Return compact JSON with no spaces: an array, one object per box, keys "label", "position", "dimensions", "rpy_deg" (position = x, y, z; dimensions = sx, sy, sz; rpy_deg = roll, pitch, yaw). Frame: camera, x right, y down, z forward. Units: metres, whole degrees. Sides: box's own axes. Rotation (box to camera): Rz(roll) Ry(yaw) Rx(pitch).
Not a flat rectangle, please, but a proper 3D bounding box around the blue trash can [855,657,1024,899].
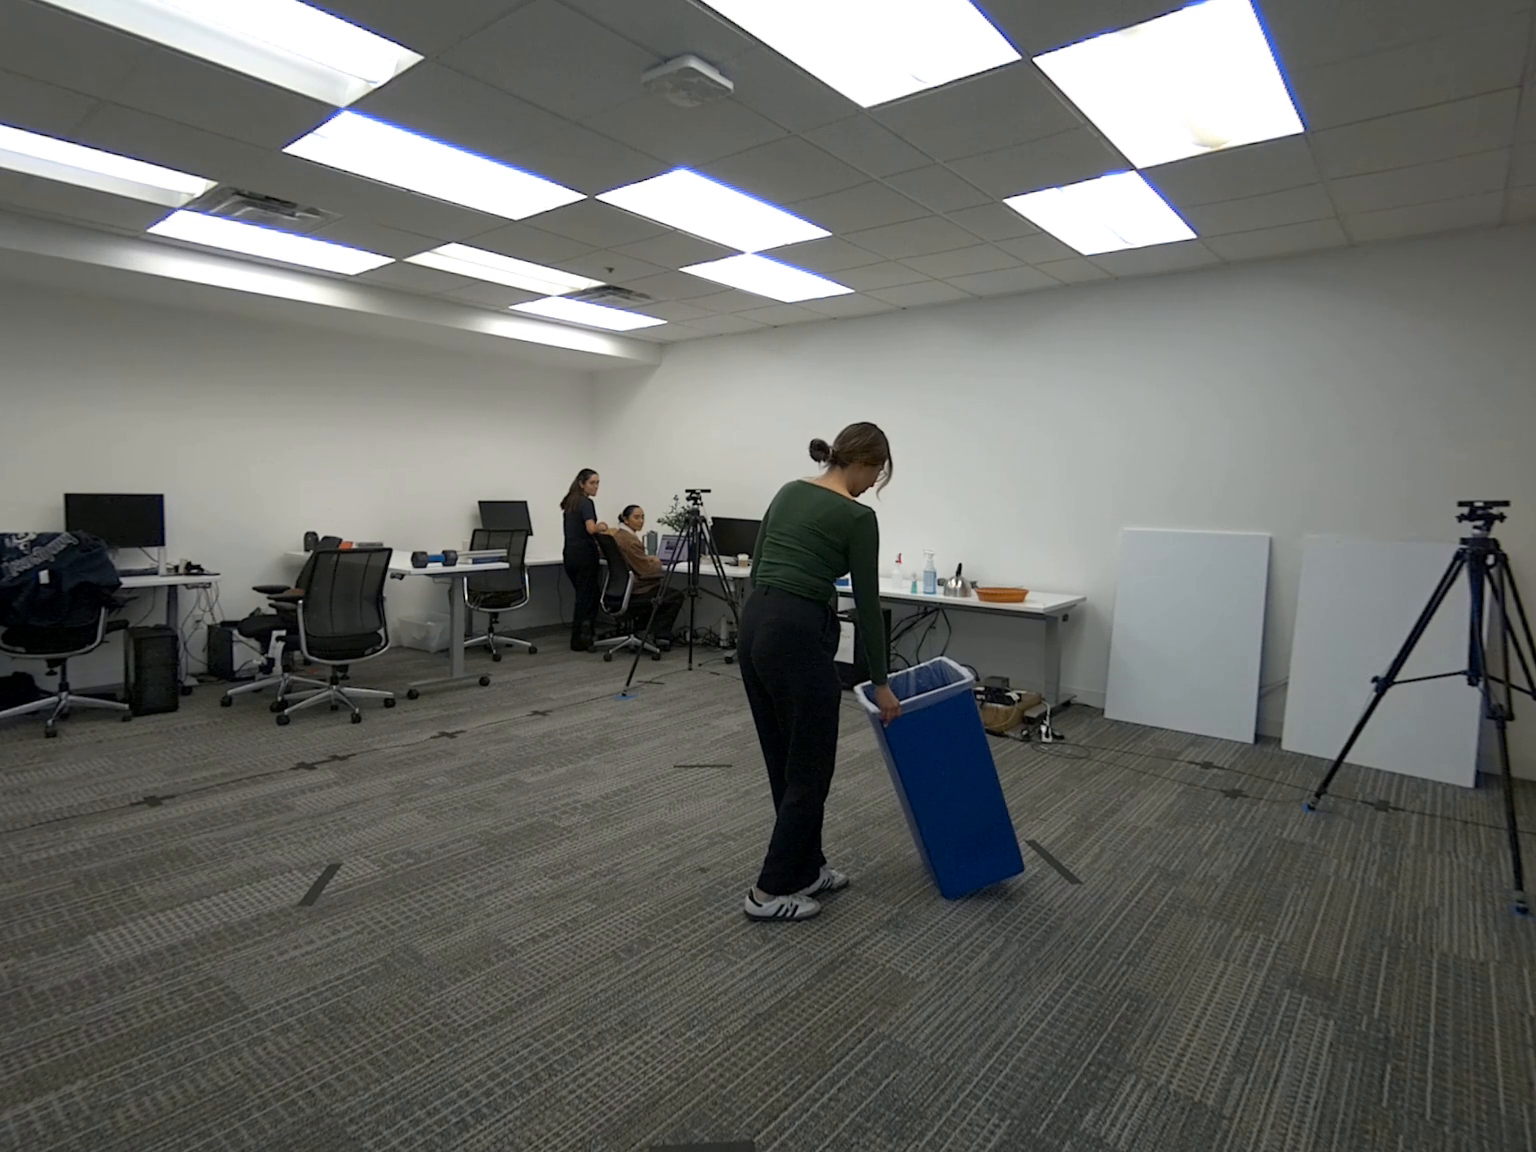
[{"label":"blue trash can","position":[0.619,0.710,3.059],"dimensions":[0.373,0.710,0.381],"rpy_deg":[-20,4,-3]}]
